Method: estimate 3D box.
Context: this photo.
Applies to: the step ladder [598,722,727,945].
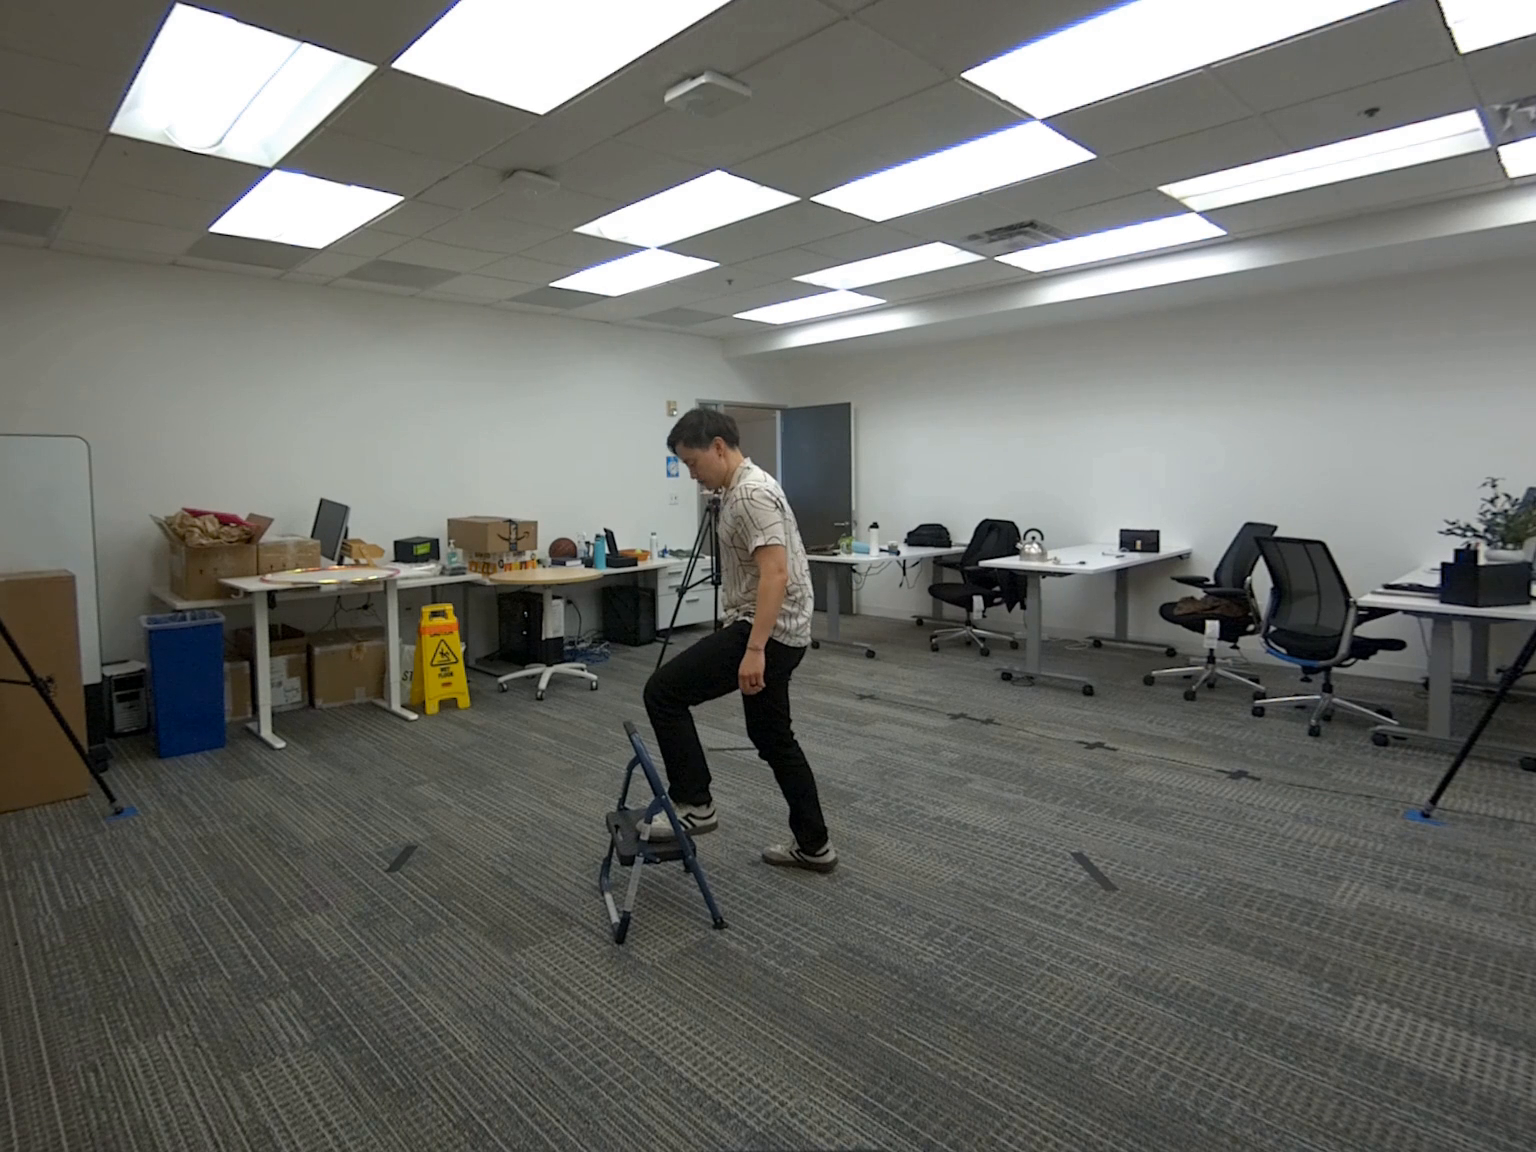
[{"bbox_3d":[-0.362,0.782,2.797,0.344,0.604,0.439,-3,5,-18],"label":"step ladder"}]
